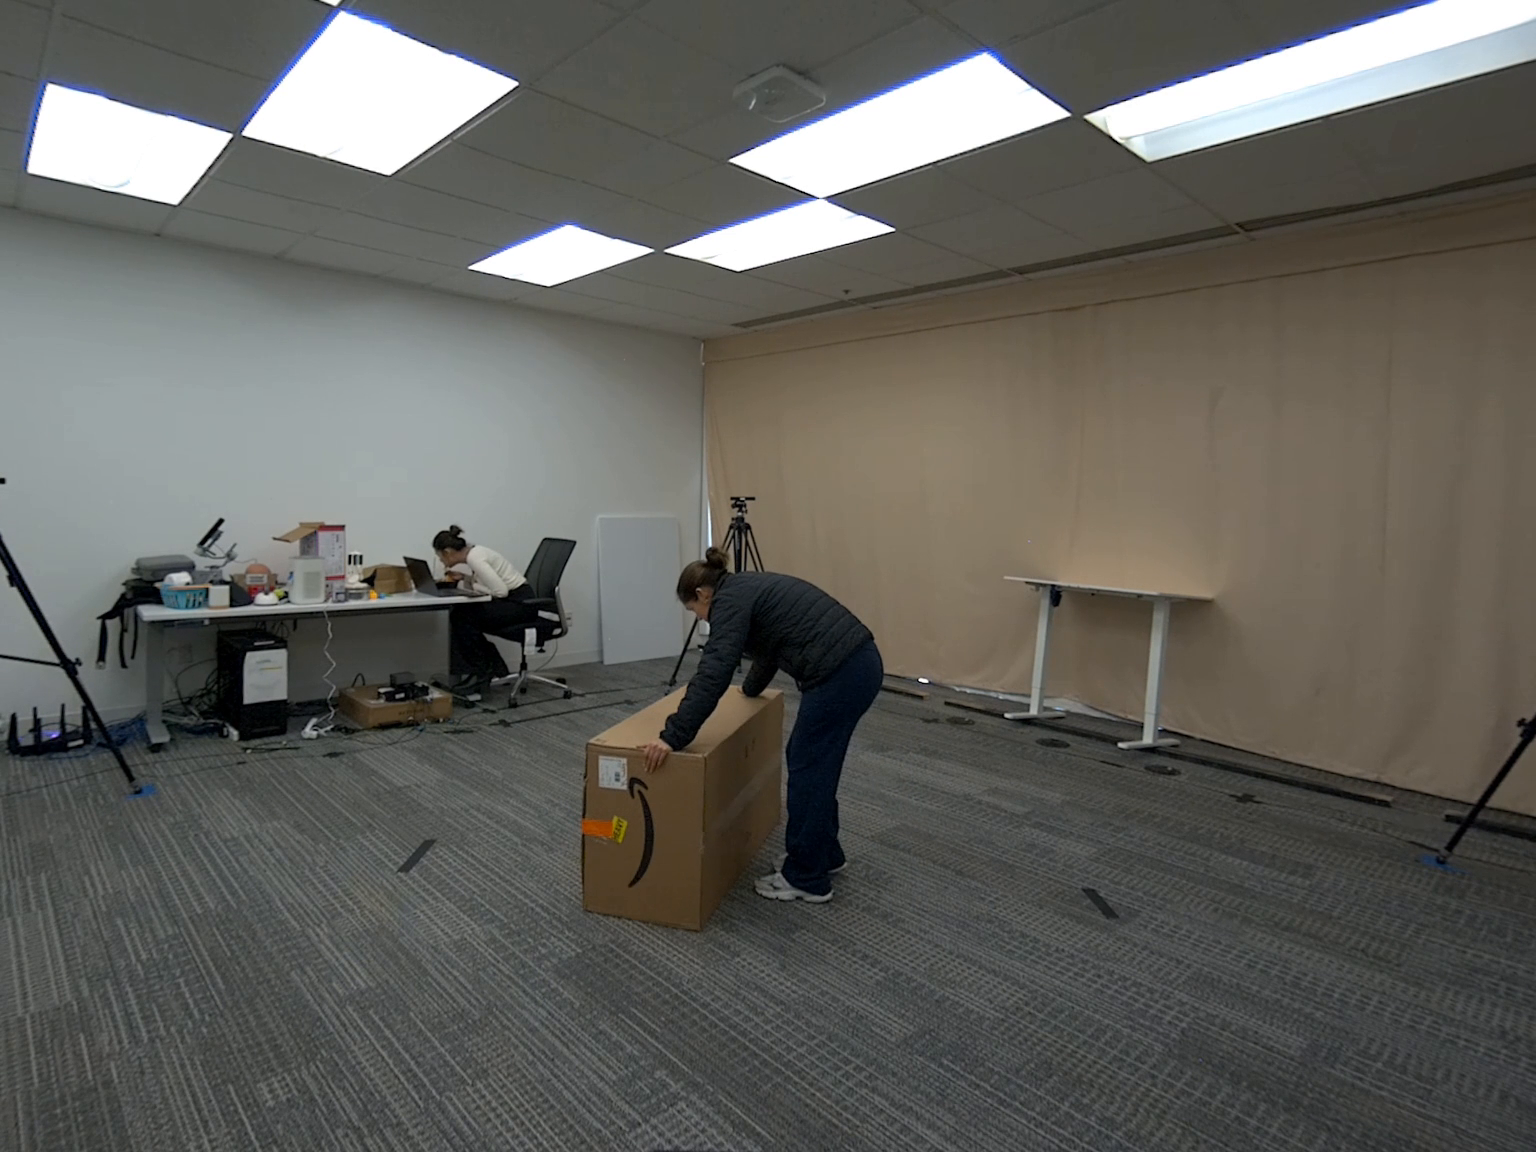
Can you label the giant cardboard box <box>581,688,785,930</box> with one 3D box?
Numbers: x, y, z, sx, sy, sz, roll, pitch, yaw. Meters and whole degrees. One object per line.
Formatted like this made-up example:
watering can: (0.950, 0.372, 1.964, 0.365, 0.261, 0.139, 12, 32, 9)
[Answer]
giant cardboard box: (-0.285, 0.808, 3.215, 0.453, 0.582, 1.016, 5, 6, 15)
